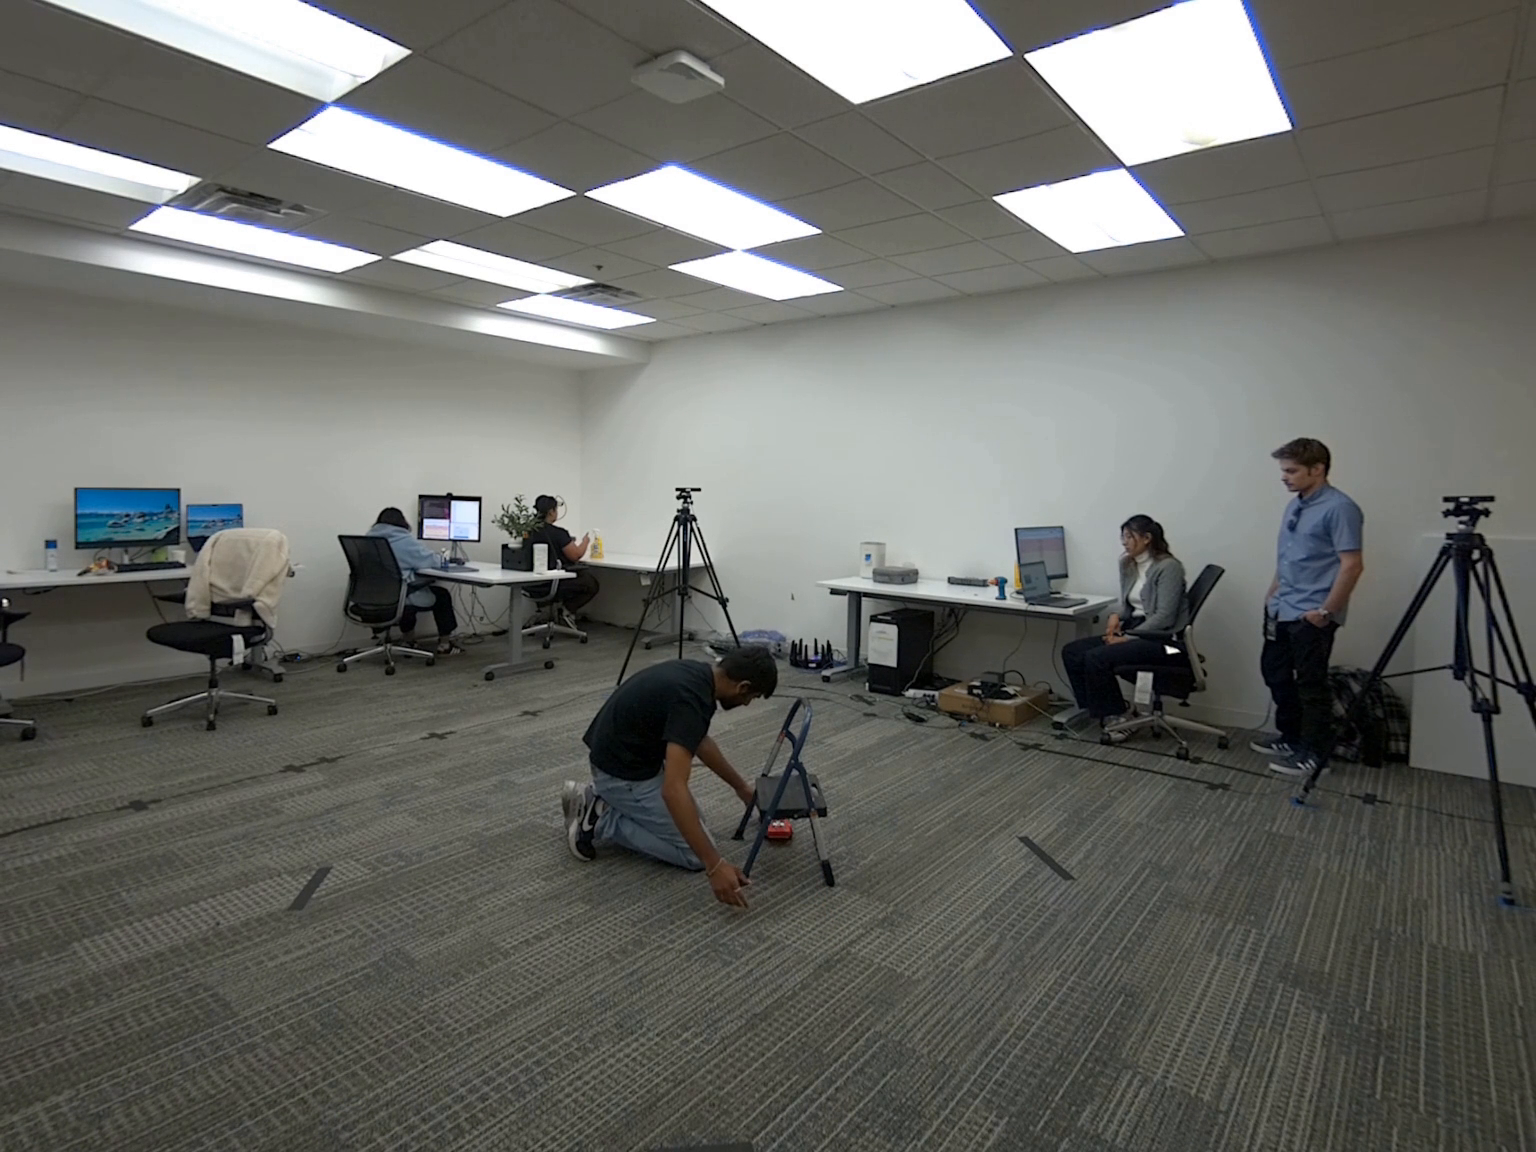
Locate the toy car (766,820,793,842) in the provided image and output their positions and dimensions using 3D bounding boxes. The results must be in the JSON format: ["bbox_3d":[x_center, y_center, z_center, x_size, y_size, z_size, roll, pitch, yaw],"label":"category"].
[{"bbox_3d":[0.030,1.019,3.454,0.130,0.084,0.252,0,-8,-1],"label":"toy car"}]
